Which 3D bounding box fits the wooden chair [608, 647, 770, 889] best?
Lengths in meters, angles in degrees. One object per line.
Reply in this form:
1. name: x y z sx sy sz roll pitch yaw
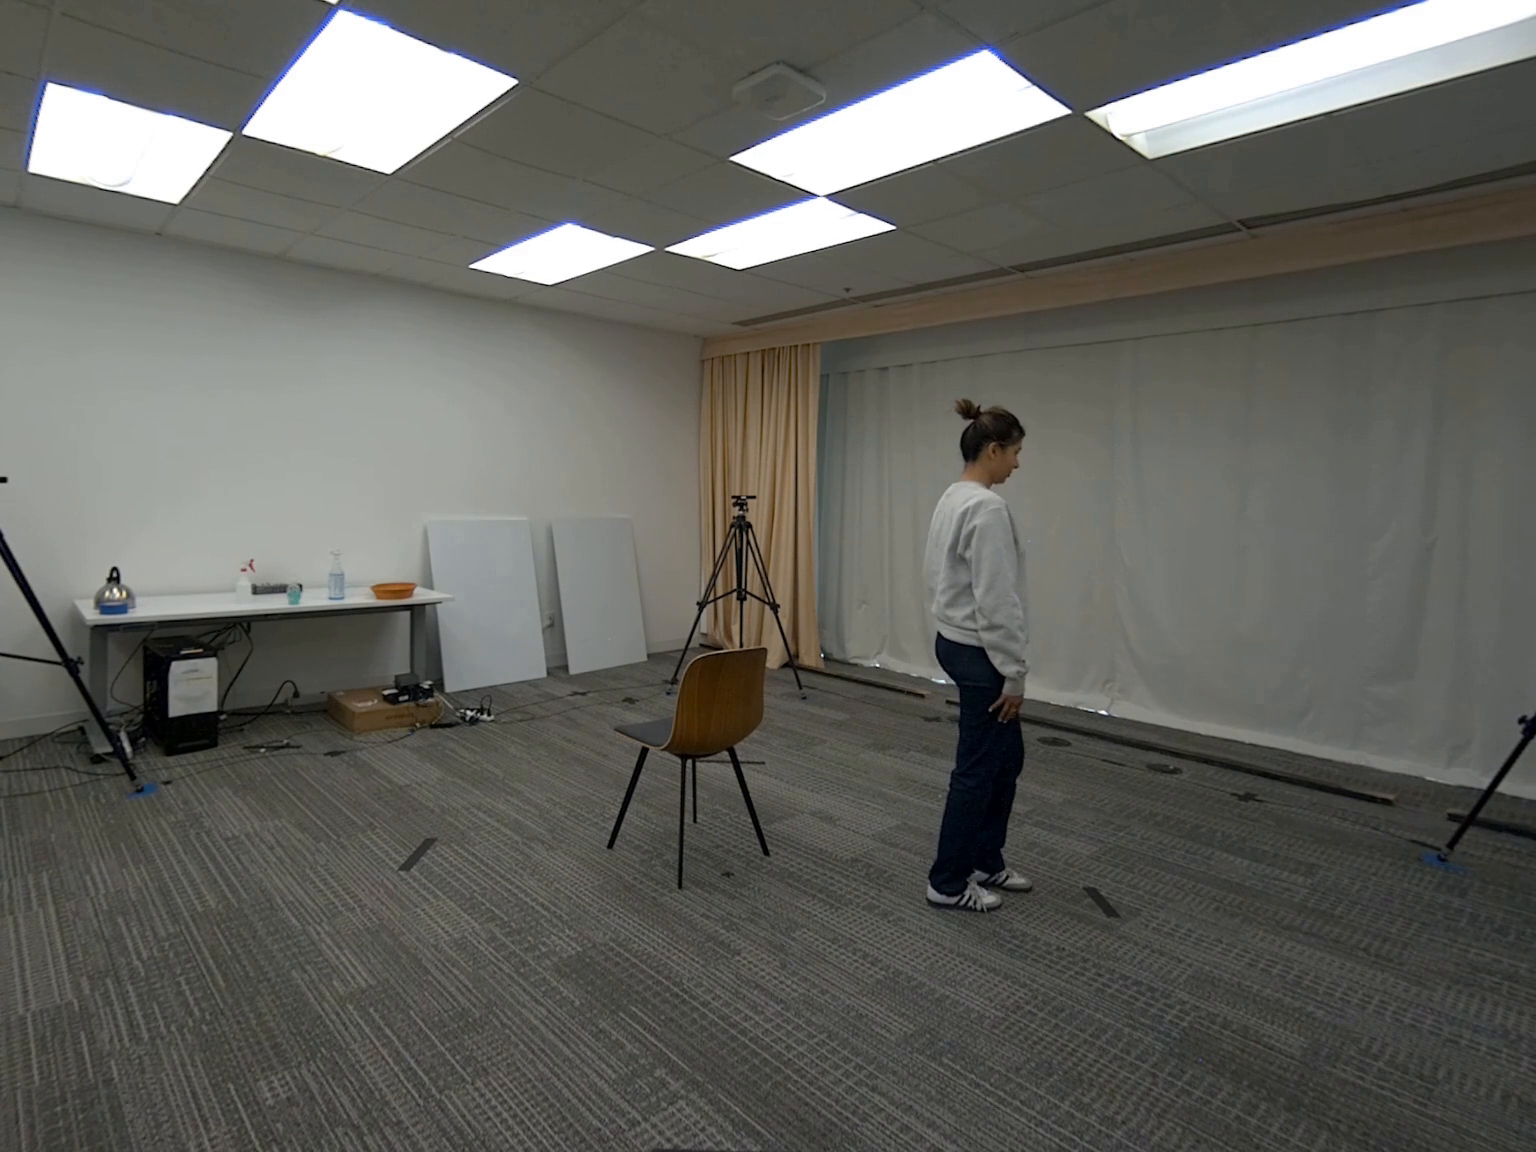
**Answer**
1. wooden chair: -0.313 0.654 3.262 0.467 0.873 0.538 -2 10 -43
